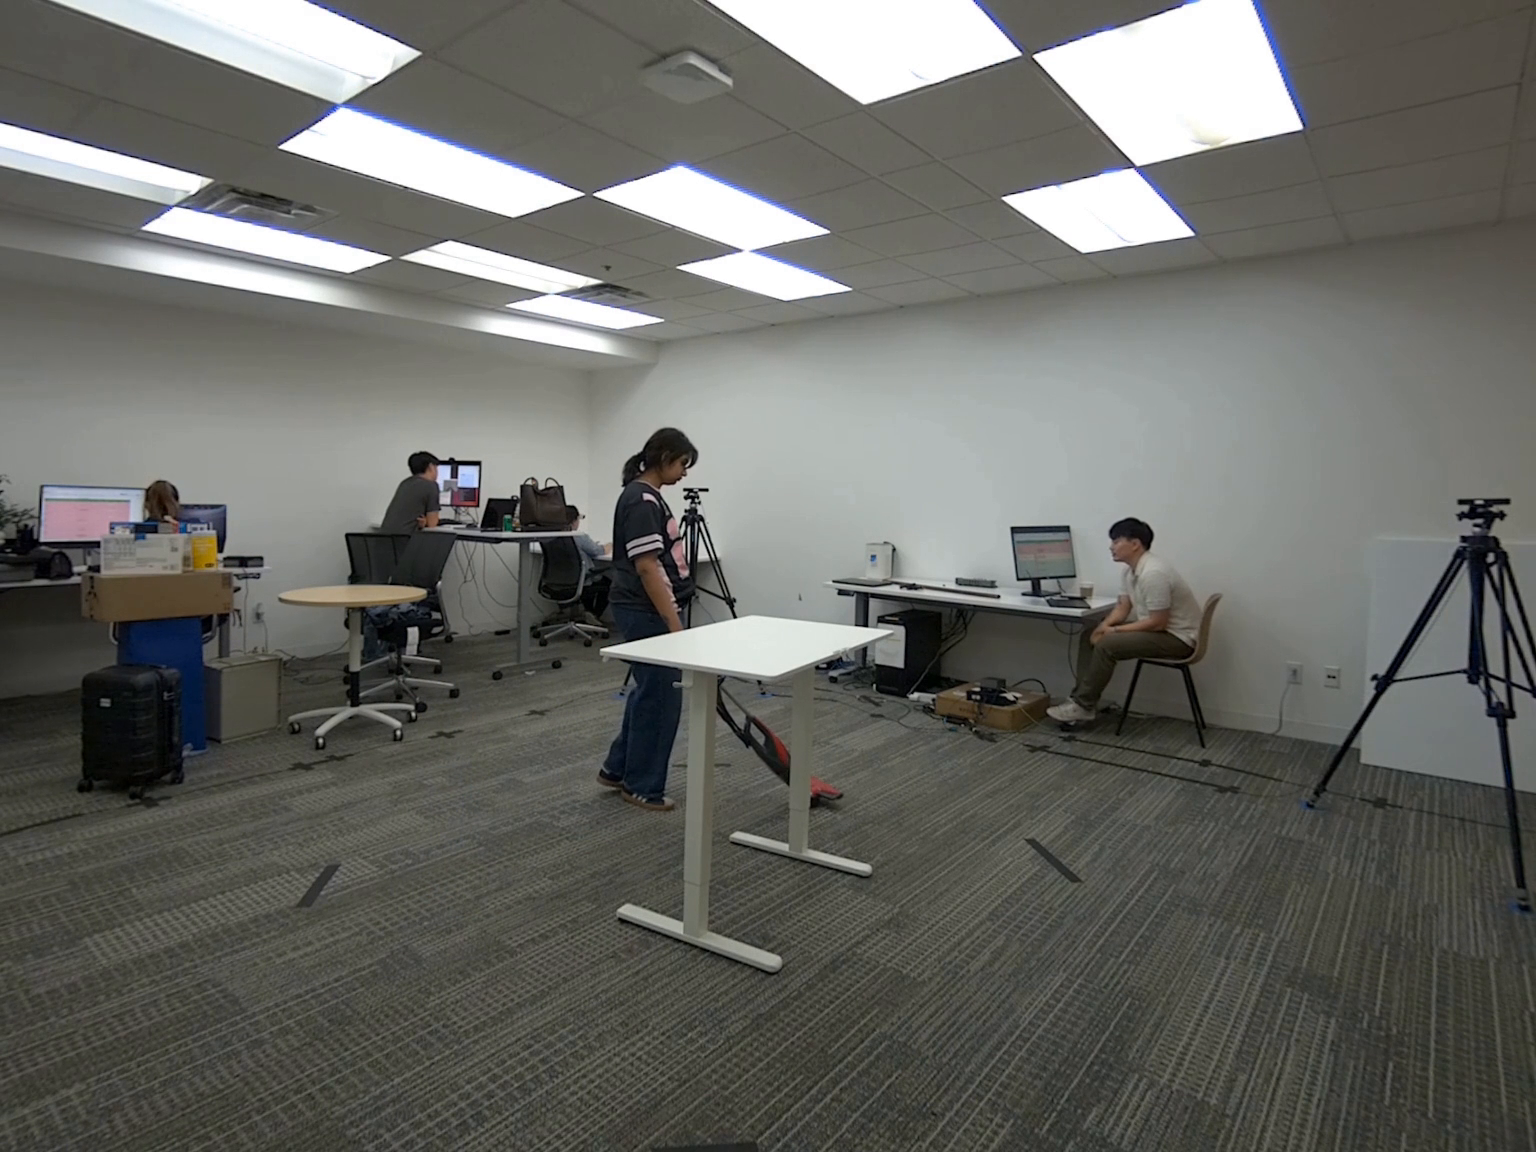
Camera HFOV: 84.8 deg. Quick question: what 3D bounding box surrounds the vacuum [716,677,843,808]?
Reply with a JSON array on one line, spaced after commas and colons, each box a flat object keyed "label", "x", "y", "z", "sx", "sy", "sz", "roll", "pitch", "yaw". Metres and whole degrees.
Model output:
[{"label": "vacuum", "x": -0.108, "y": 0.641, "z": 3.632, "sx": 1.019, "sy": 0.144, "sz": 0.260, "roll": 47, "pitch": -20, "yaw": -22}]
